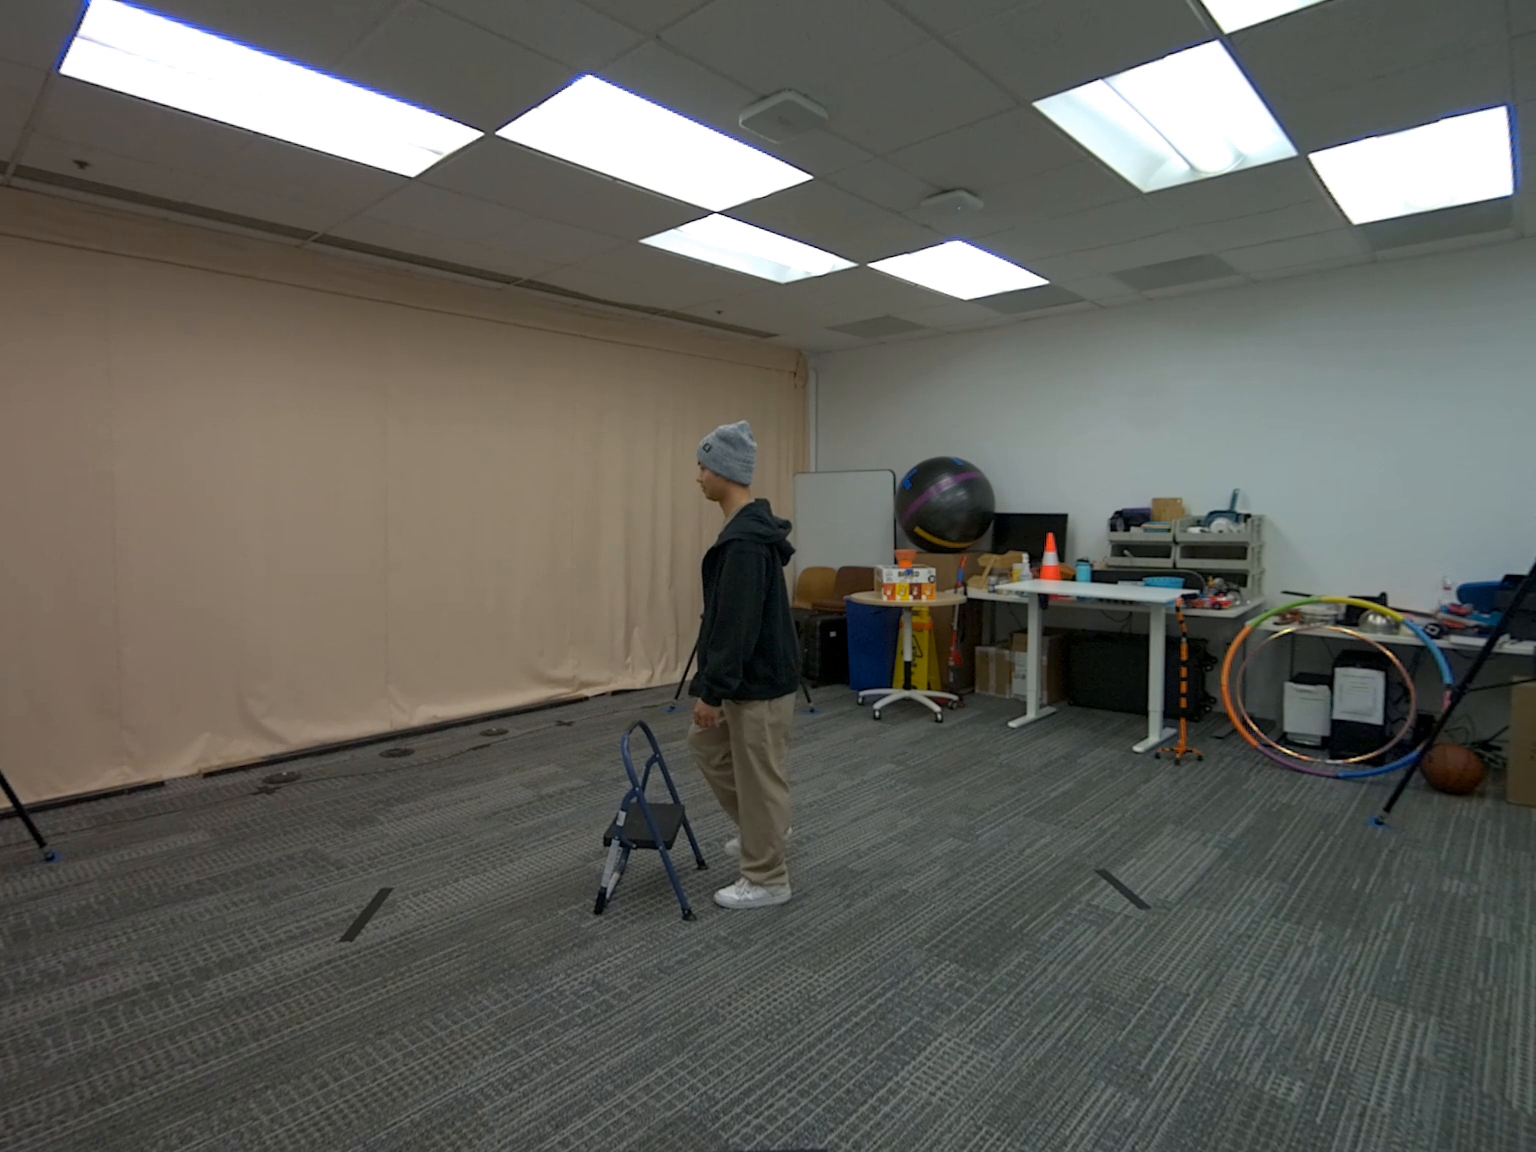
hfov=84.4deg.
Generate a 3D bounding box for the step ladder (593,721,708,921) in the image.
[{"bbox_3d":[-0.415,0.843,3.046,0.351,0.605,0.429,0,3,3],"label":"step ladder"}]
